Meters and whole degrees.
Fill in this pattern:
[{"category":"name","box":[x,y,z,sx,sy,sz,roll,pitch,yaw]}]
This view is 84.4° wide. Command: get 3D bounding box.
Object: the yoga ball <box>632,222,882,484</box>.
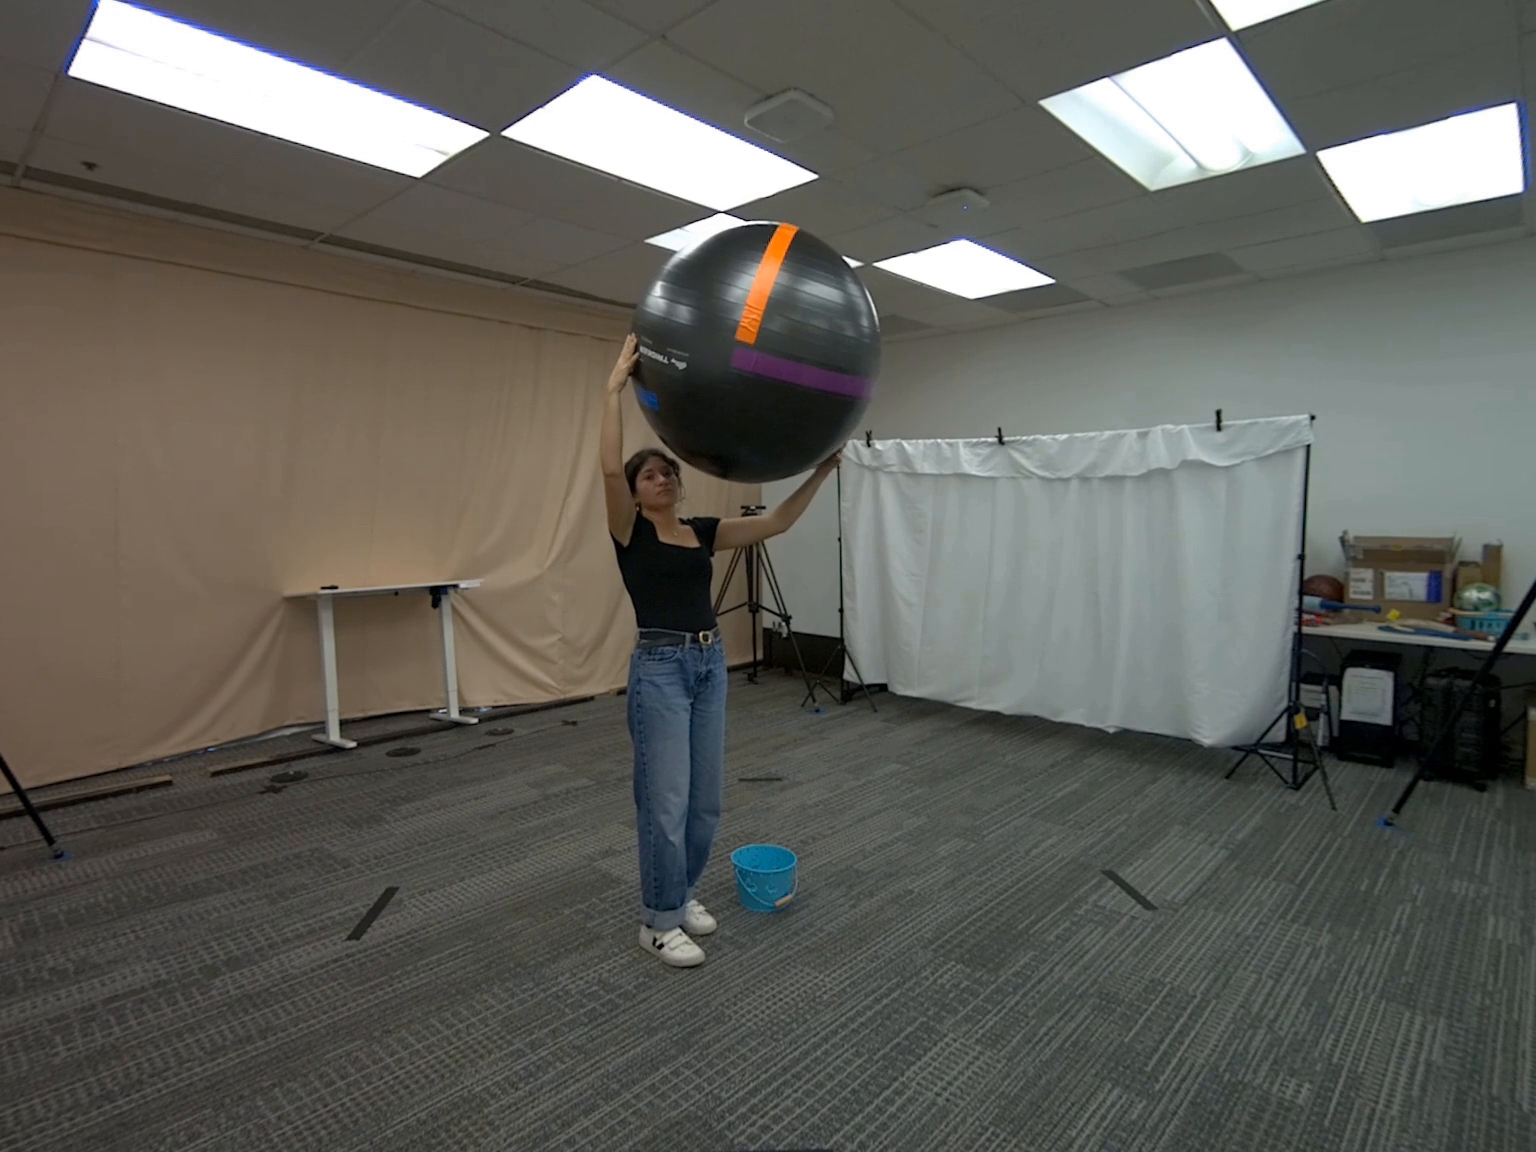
[{"category":"yoga ball","box":[-0.035,-0.652,2.536,0.757,0.756,0.760,0,4,-2]}]
